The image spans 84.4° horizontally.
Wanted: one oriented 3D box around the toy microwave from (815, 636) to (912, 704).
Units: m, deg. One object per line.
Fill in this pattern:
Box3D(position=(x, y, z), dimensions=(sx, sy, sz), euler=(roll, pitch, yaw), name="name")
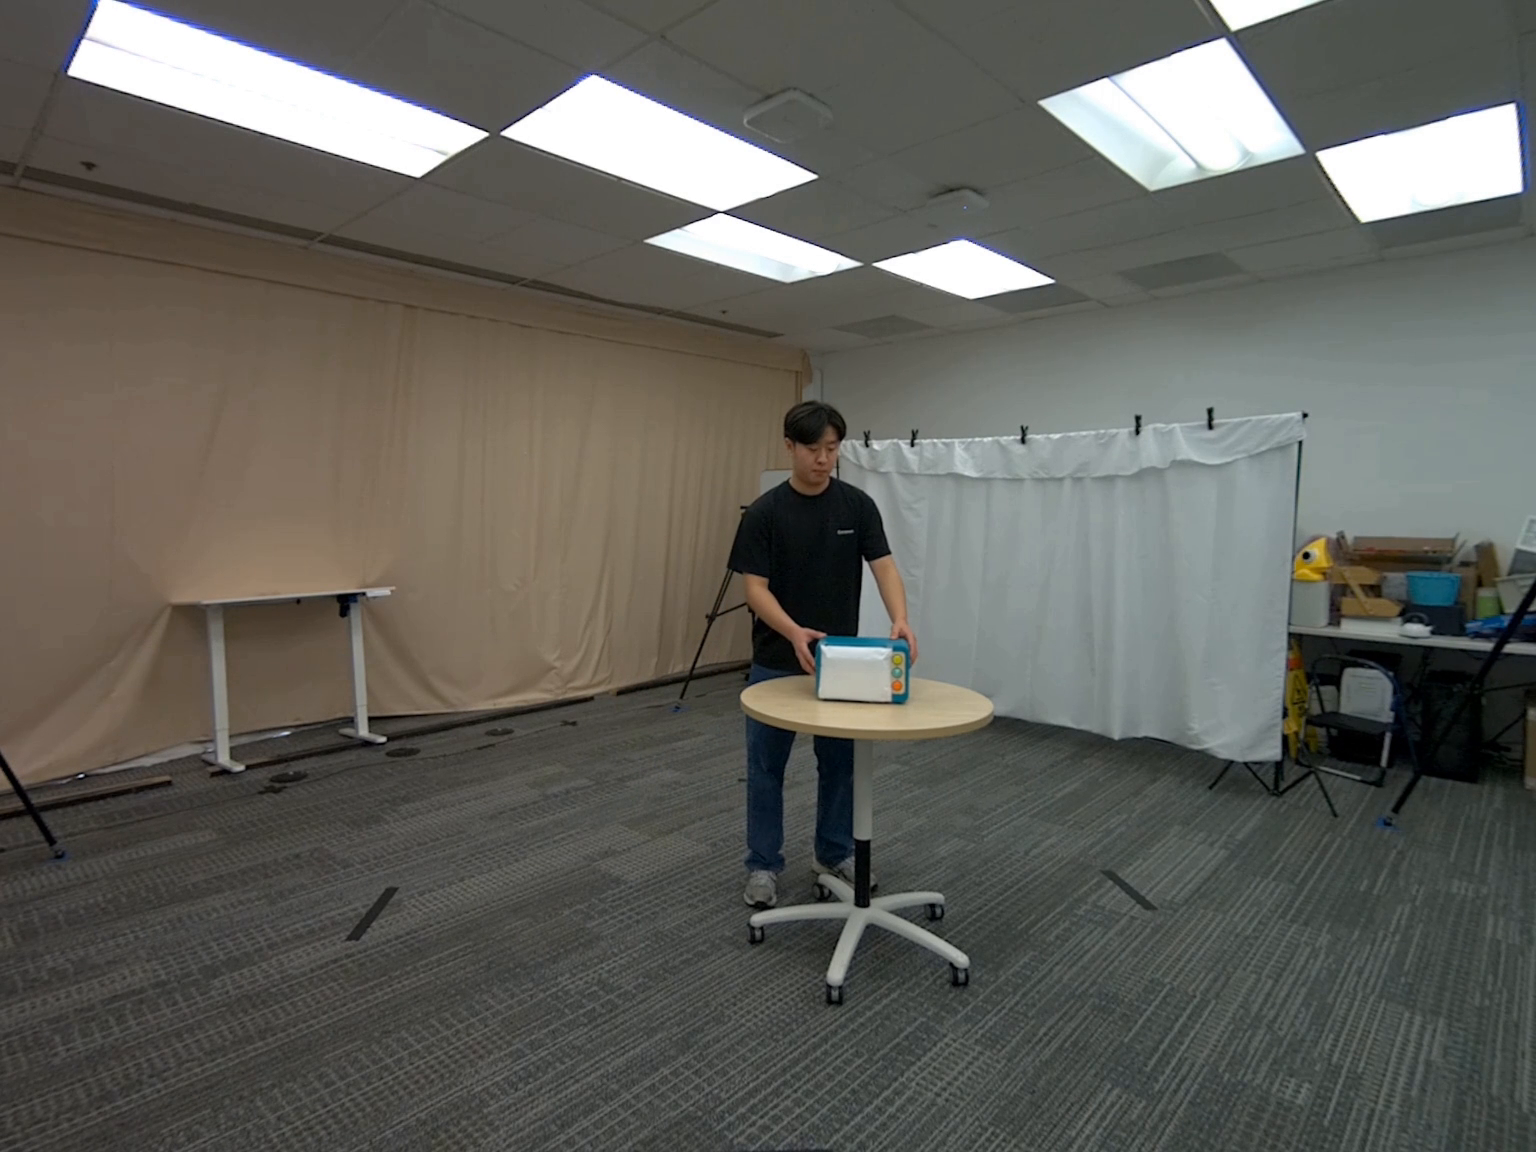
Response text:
Box3D(position=(0.297, 0.288, 2.585), dimensions=(0.289, 0.184, 0.151), euler=(2, 4, 9), name="toy microwave")
